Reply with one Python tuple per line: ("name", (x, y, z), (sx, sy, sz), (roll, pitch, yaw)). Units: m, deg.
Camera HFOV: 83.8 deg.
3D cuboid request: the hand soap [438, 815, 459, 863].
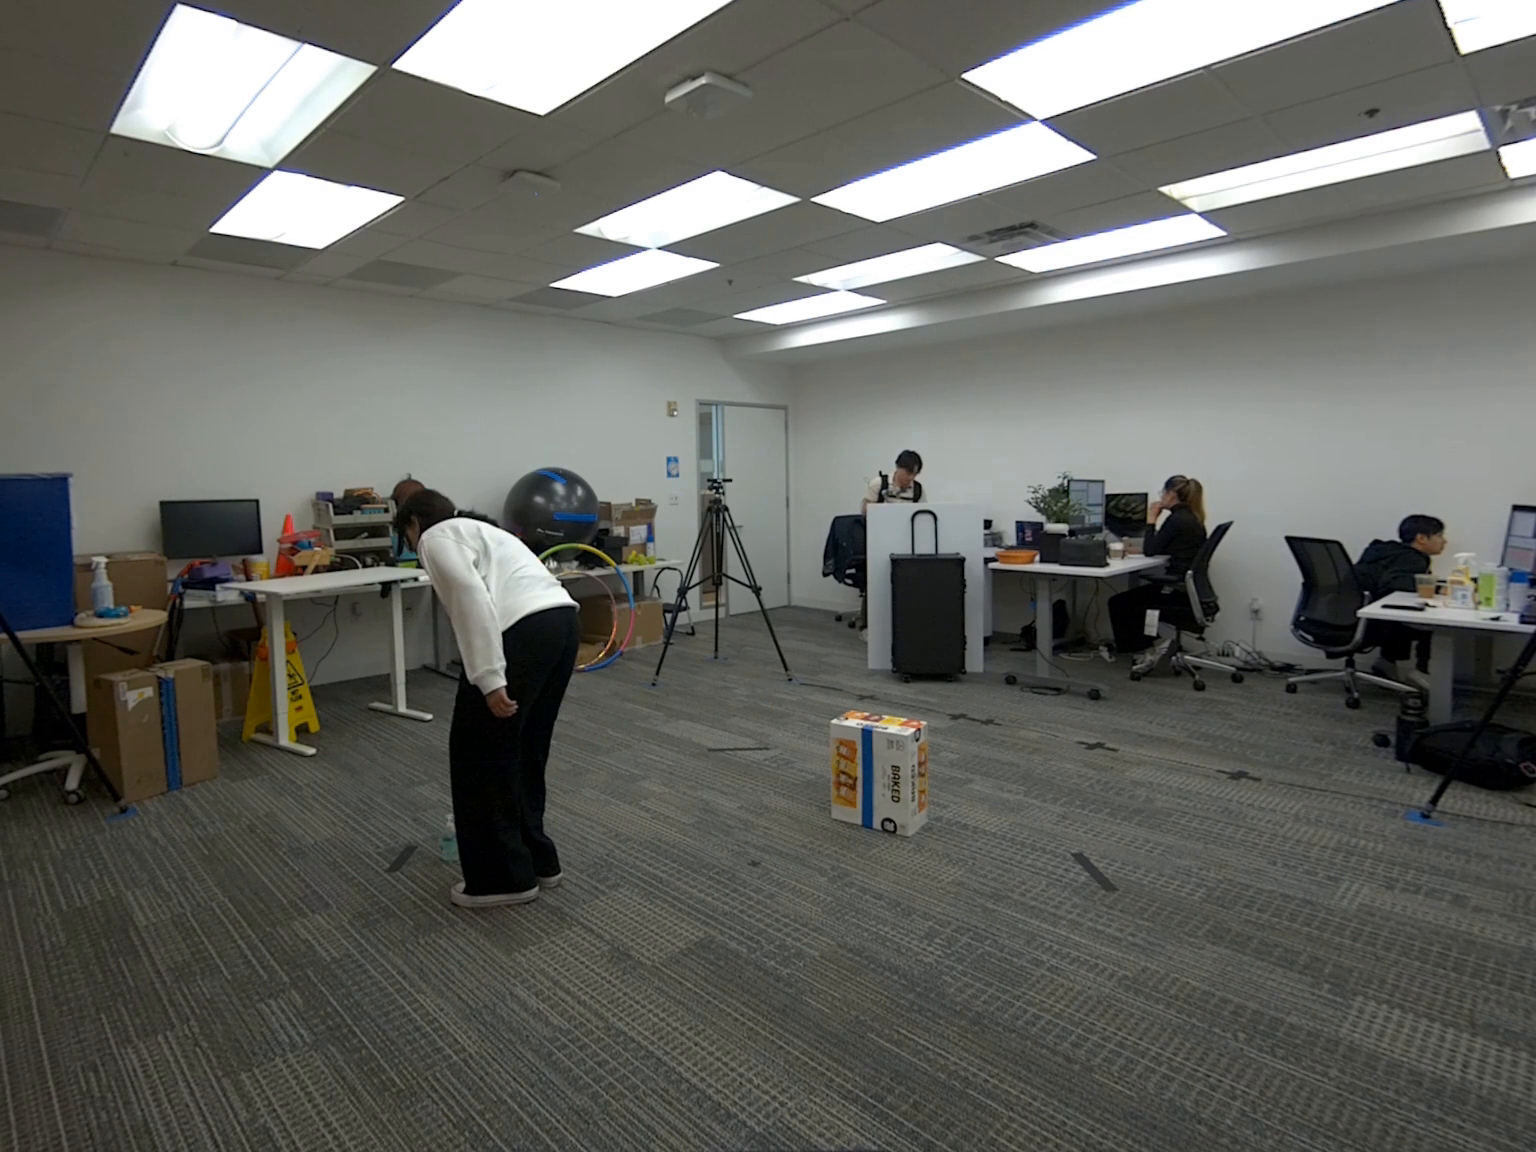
("hand soap", (-1.190, 0.977, 3.199), (0.085, 0.167, 0.043), (-2, 3, 3))
